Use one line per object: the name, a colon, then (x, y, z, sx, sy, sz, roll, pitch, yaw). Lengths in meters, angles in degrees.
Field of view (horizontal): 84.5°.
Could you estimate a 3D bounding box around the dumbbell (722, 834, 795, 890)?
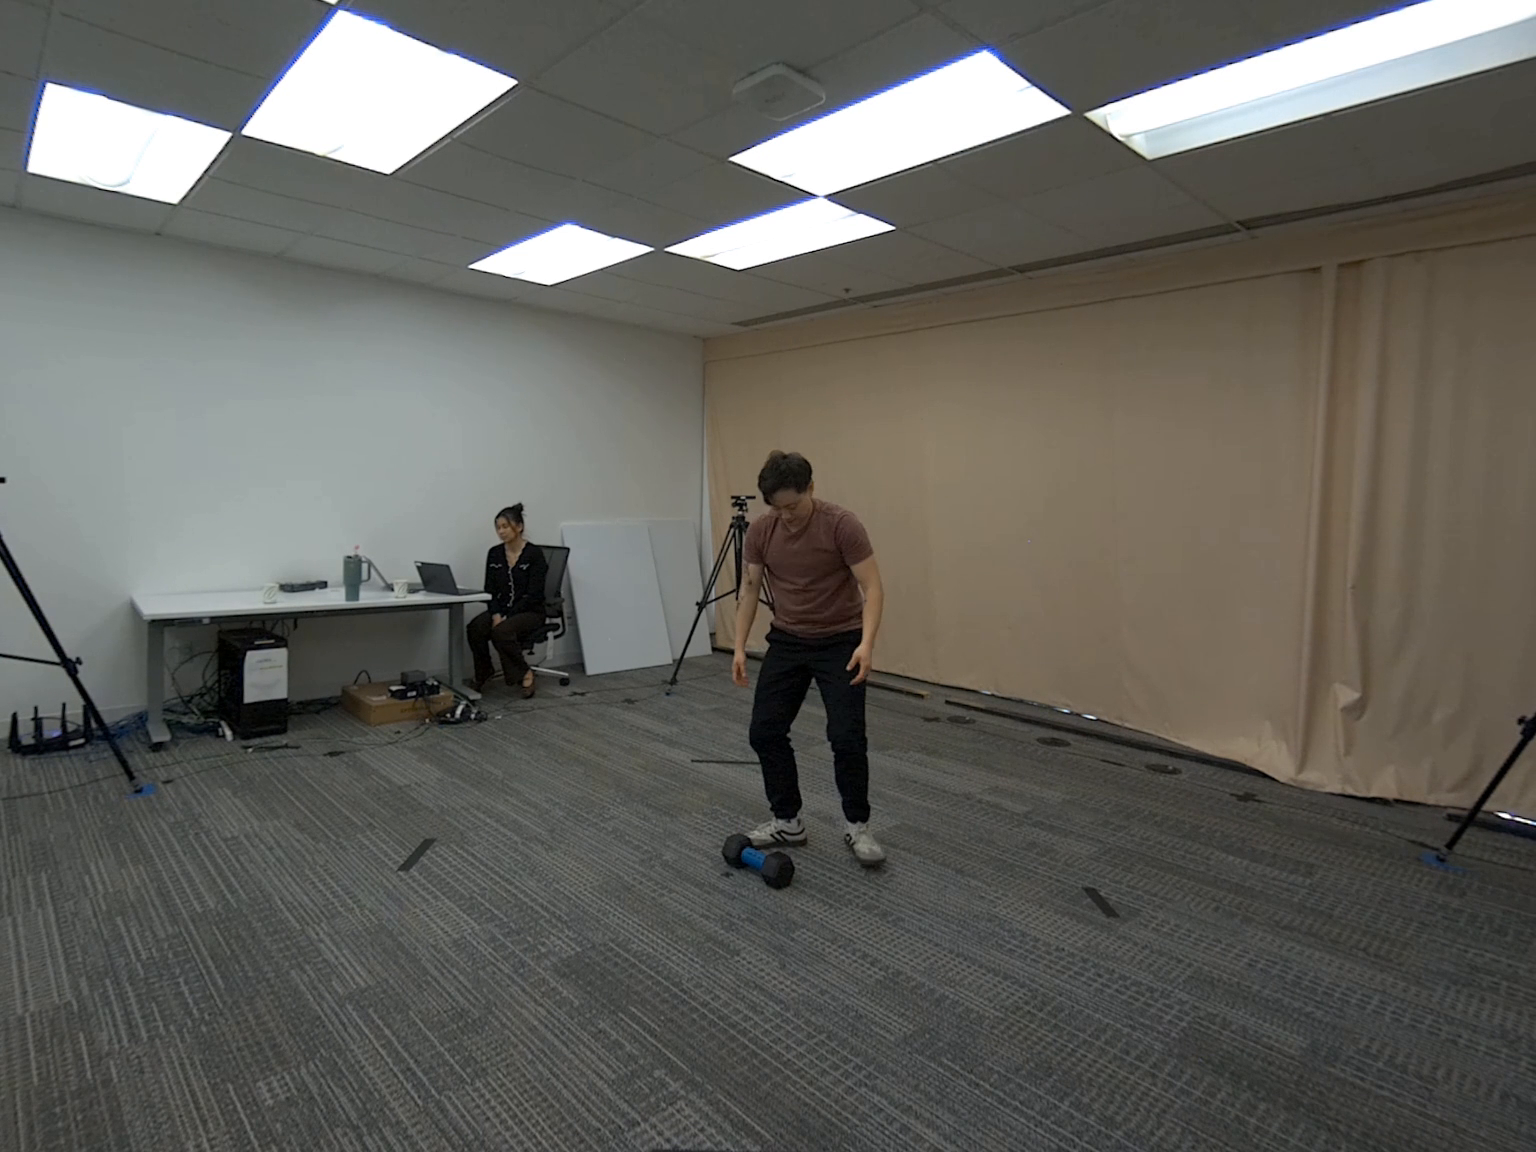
dumbbell: (-0.049, 1.049, 3.105, 0.301, 0.123, 0.105, 6, -21, 48)
